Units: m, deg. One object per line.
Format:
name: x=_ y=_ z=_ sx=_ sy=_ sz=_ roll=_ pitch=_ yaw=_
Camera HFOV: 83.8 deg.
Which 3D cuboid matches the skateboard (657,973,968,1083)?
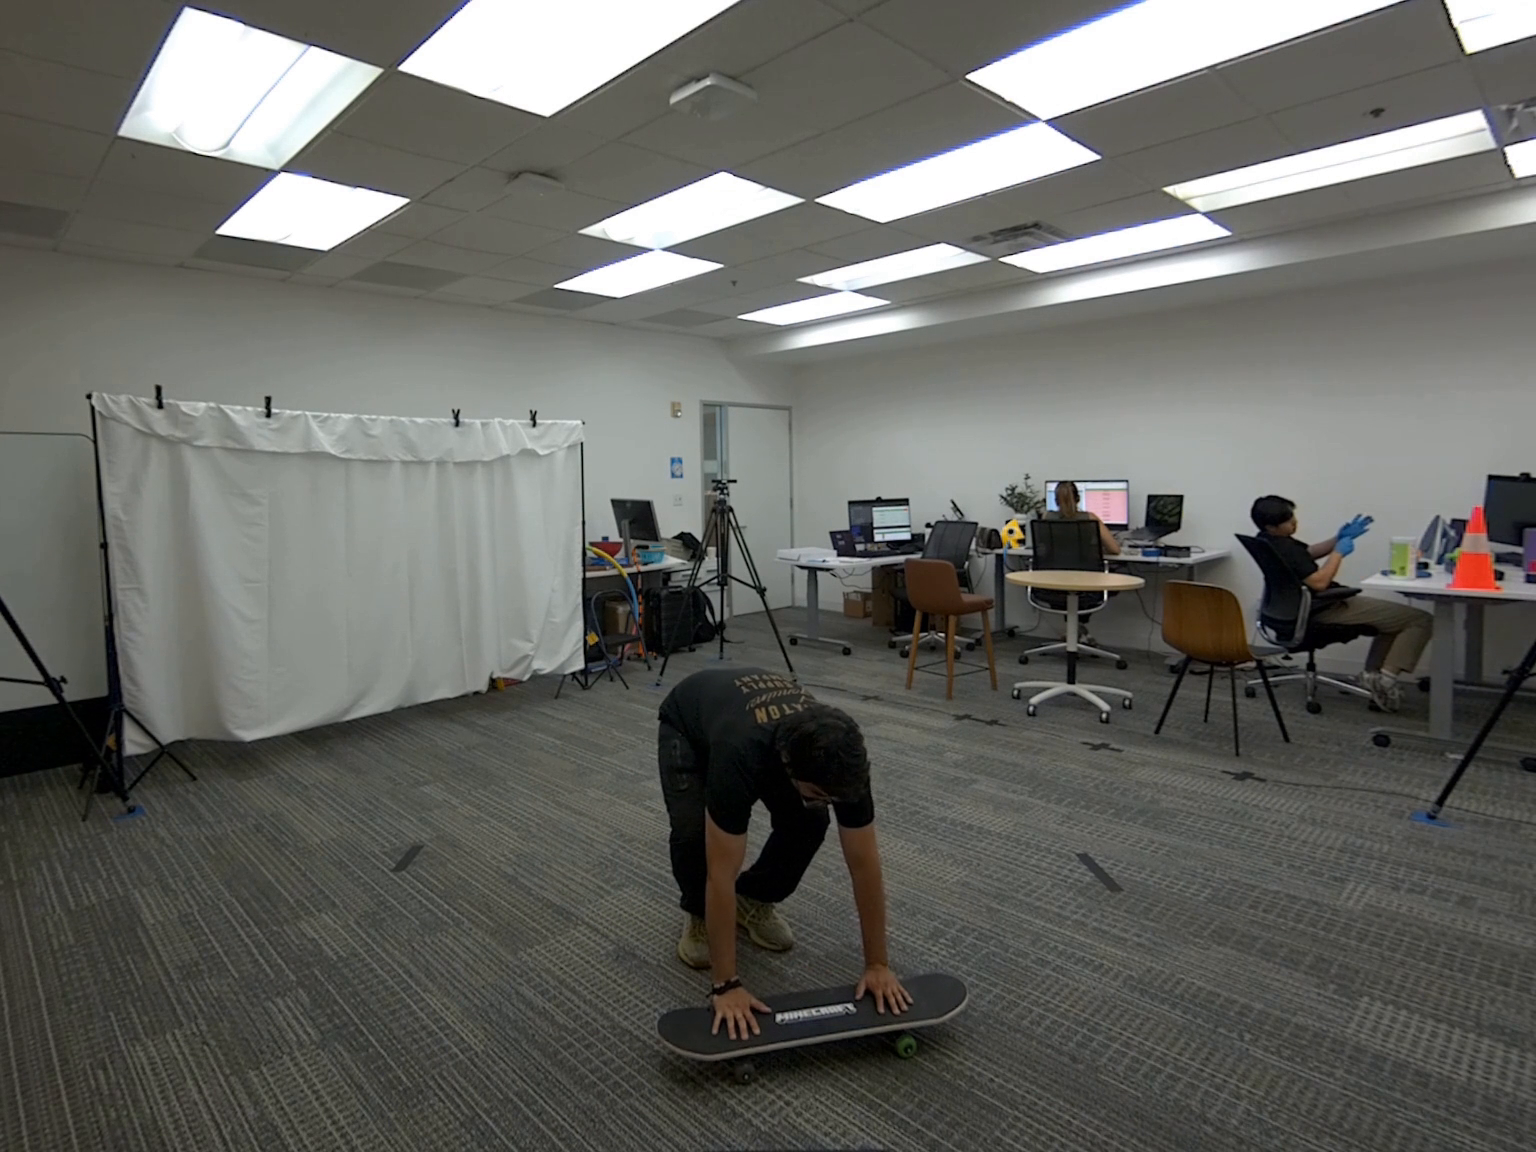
skateboard: x=0.128 y=1.103 z=2.105 sx=0.778 sy=0.110 sz=0.196 roll=-2 pitch=5 yaw=-11
